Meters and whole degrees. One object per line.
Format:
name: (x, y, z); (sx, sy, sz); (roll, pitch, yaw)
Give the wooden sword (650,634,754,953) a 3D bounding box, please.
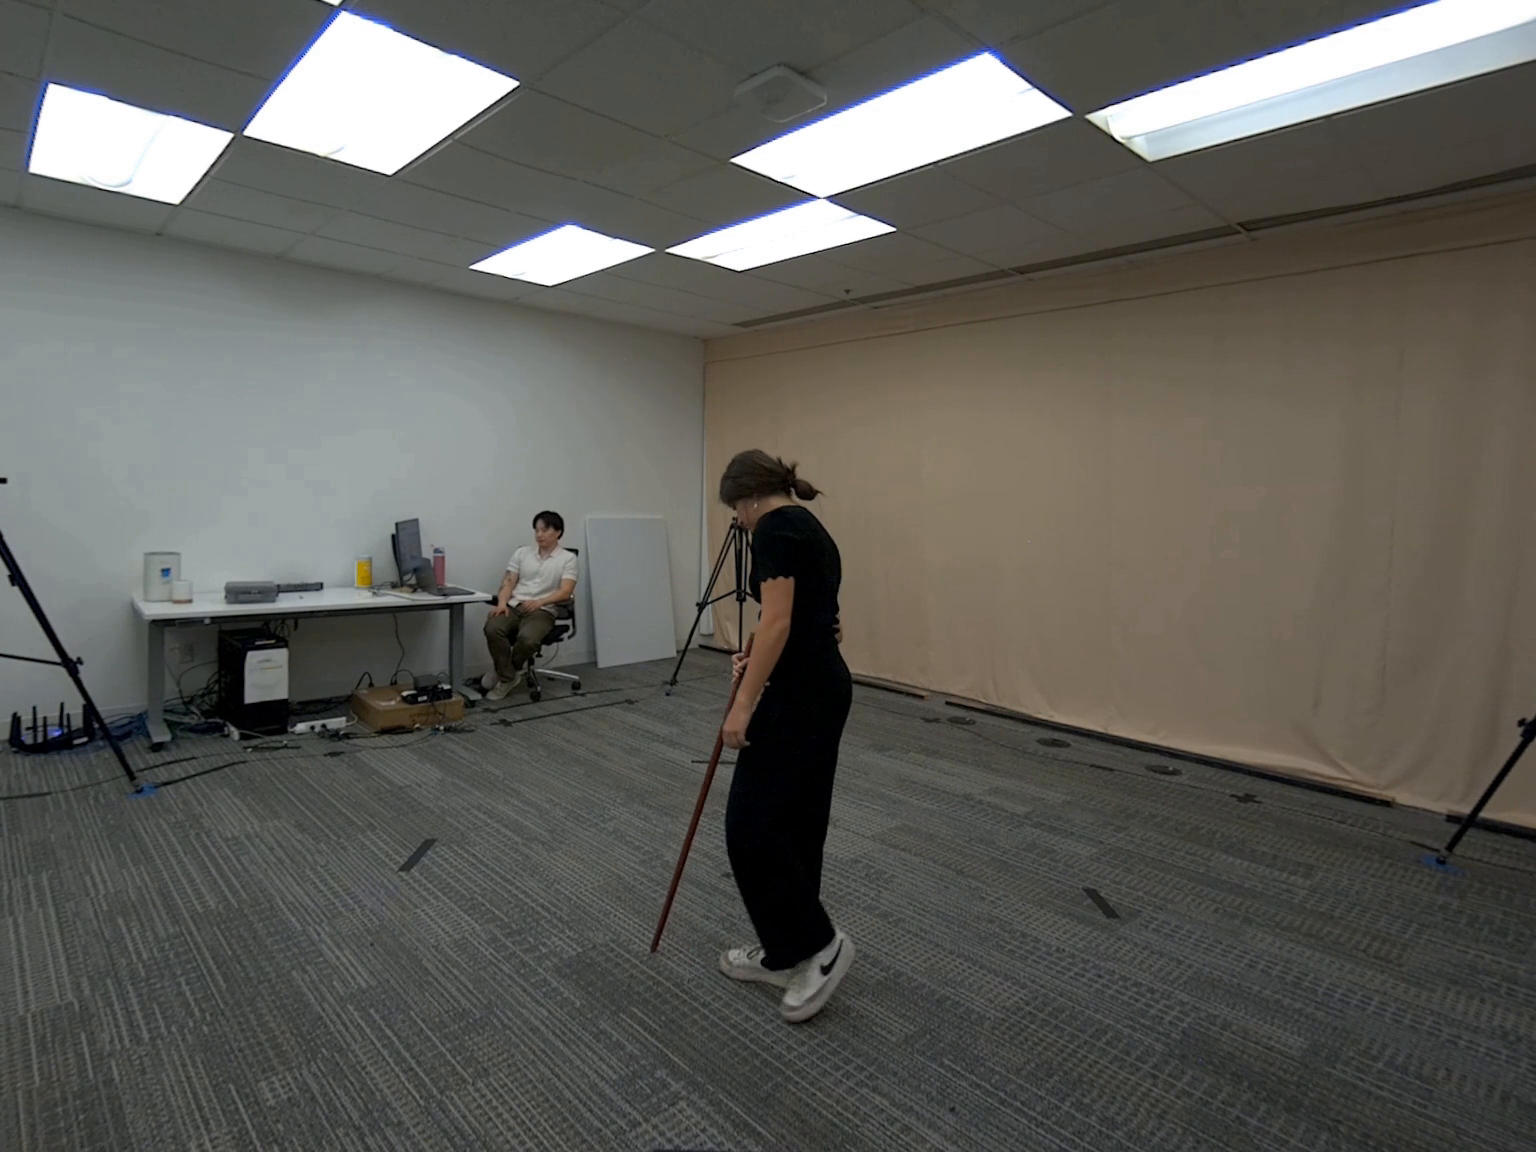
wooden sword: (-0.211, 0.684, 2.524); (0.024, 1.023, 0.051); (17, 2, 3)
